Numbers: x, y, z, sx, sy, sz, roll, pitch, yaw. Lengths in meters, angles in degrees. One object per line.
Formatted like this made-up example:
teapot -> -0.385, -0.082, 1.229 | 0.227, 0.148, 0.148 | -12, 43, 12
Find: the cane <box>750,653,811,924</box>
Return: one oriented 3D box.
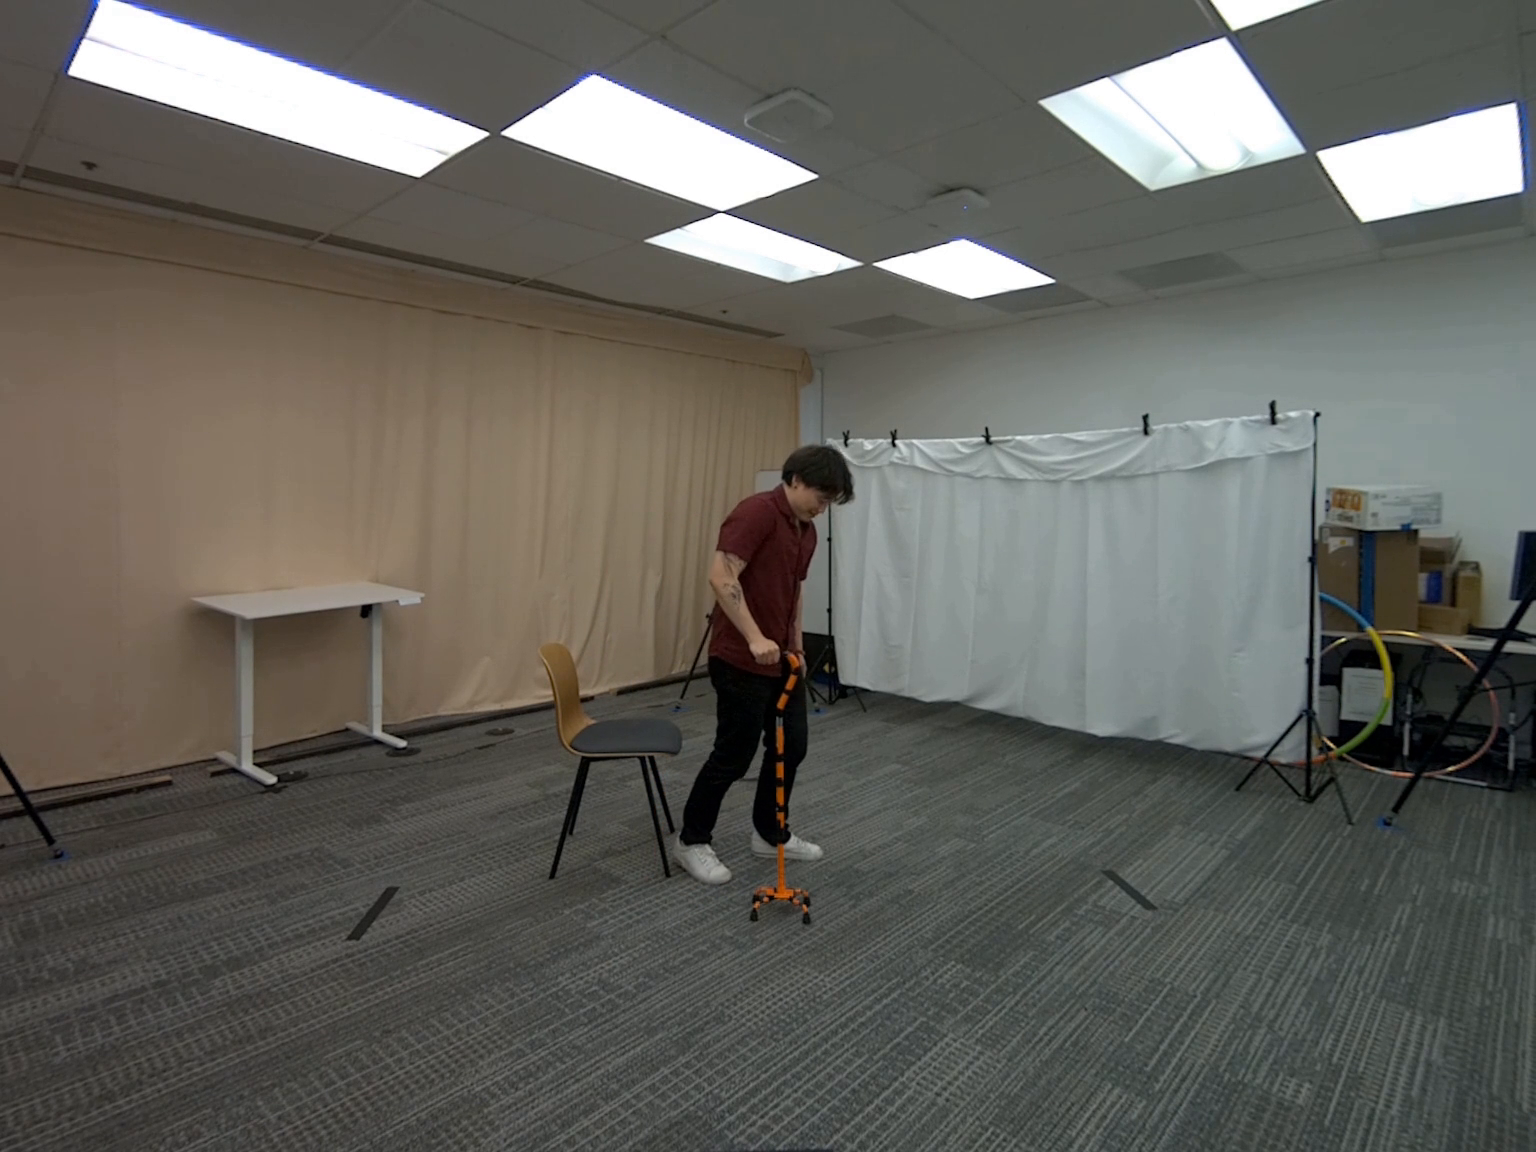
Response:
cane -> 0.047, 0.698, 2.860 | 0.208, 0.905, 0.151 | 1, 4, 4
